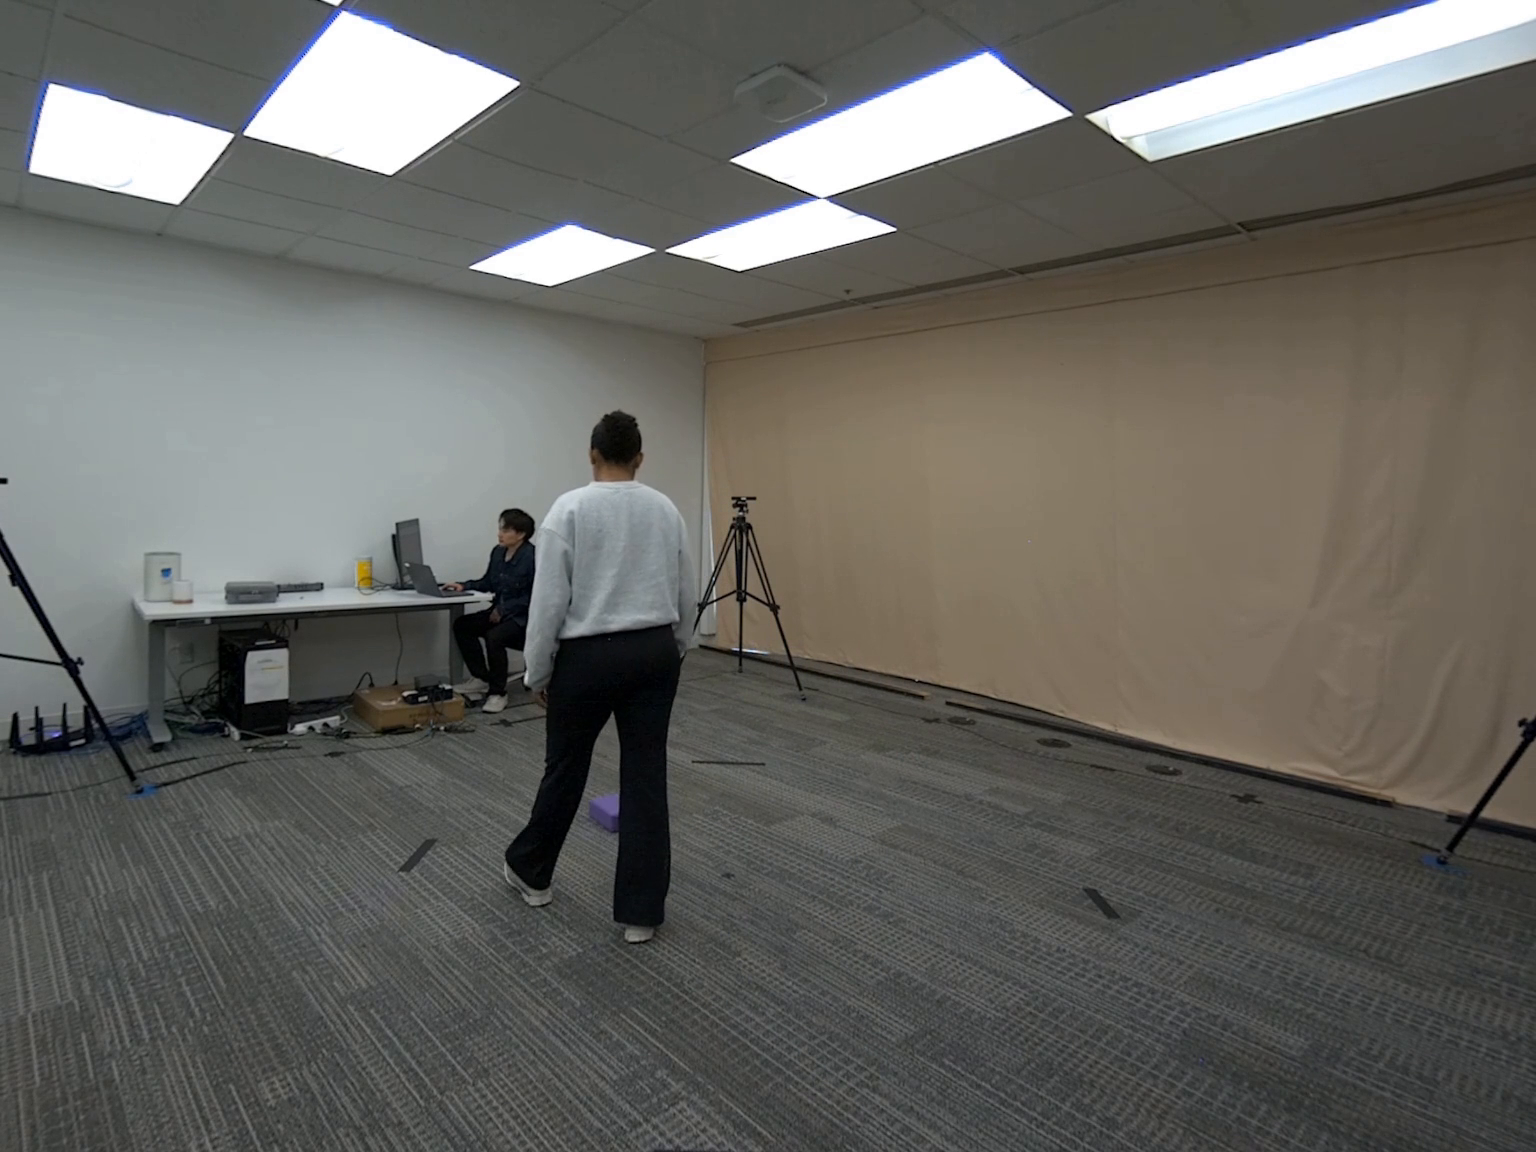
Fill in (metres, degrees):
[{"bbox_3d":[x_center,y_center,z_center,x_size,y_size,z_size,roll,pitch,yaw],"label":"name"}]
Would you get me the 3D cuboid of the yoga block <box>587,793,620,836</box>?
[{"bbox_3d":[-0.660,1.012,3.602,0.146,0.076,0.235,-2,6,-36],"label":"yoga block"}]
